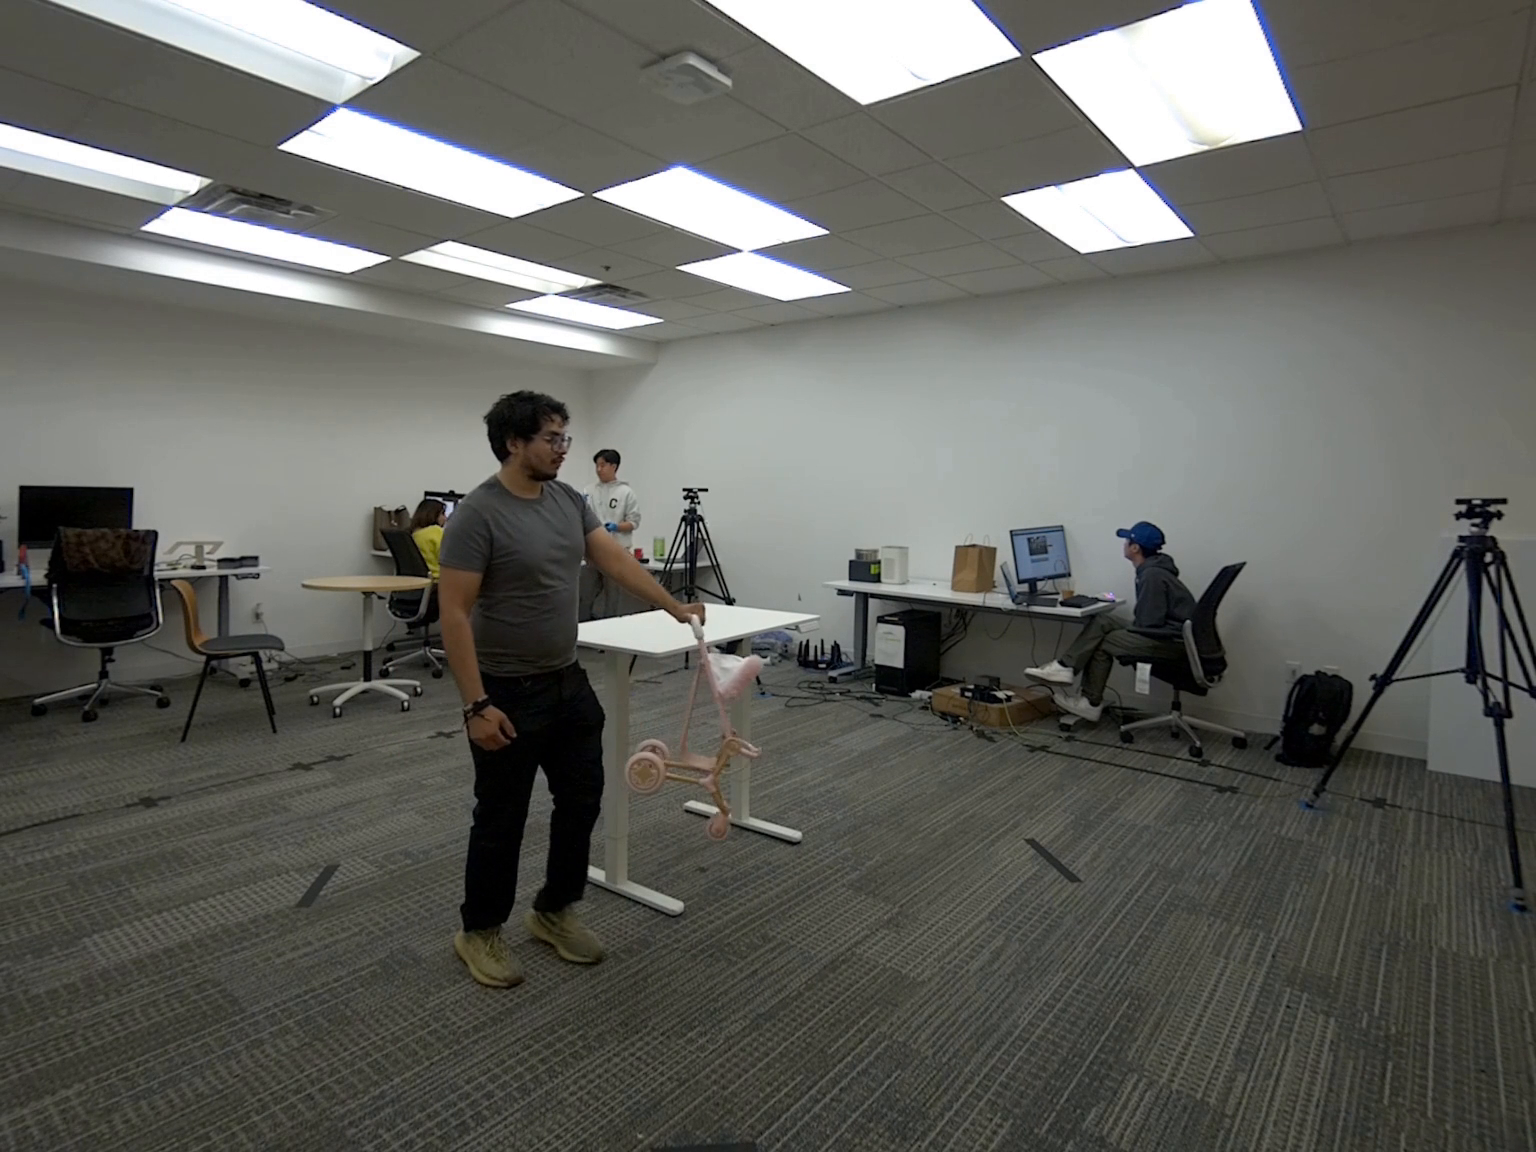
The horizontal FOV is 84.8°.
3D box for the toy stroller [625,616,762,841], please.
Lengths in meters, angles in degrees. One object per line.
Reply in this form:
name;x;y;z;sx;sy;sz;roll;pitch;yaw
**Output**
toy stroller;-0.172;0.423;2.339;0.344;0.536;0.279;23;-6;4
